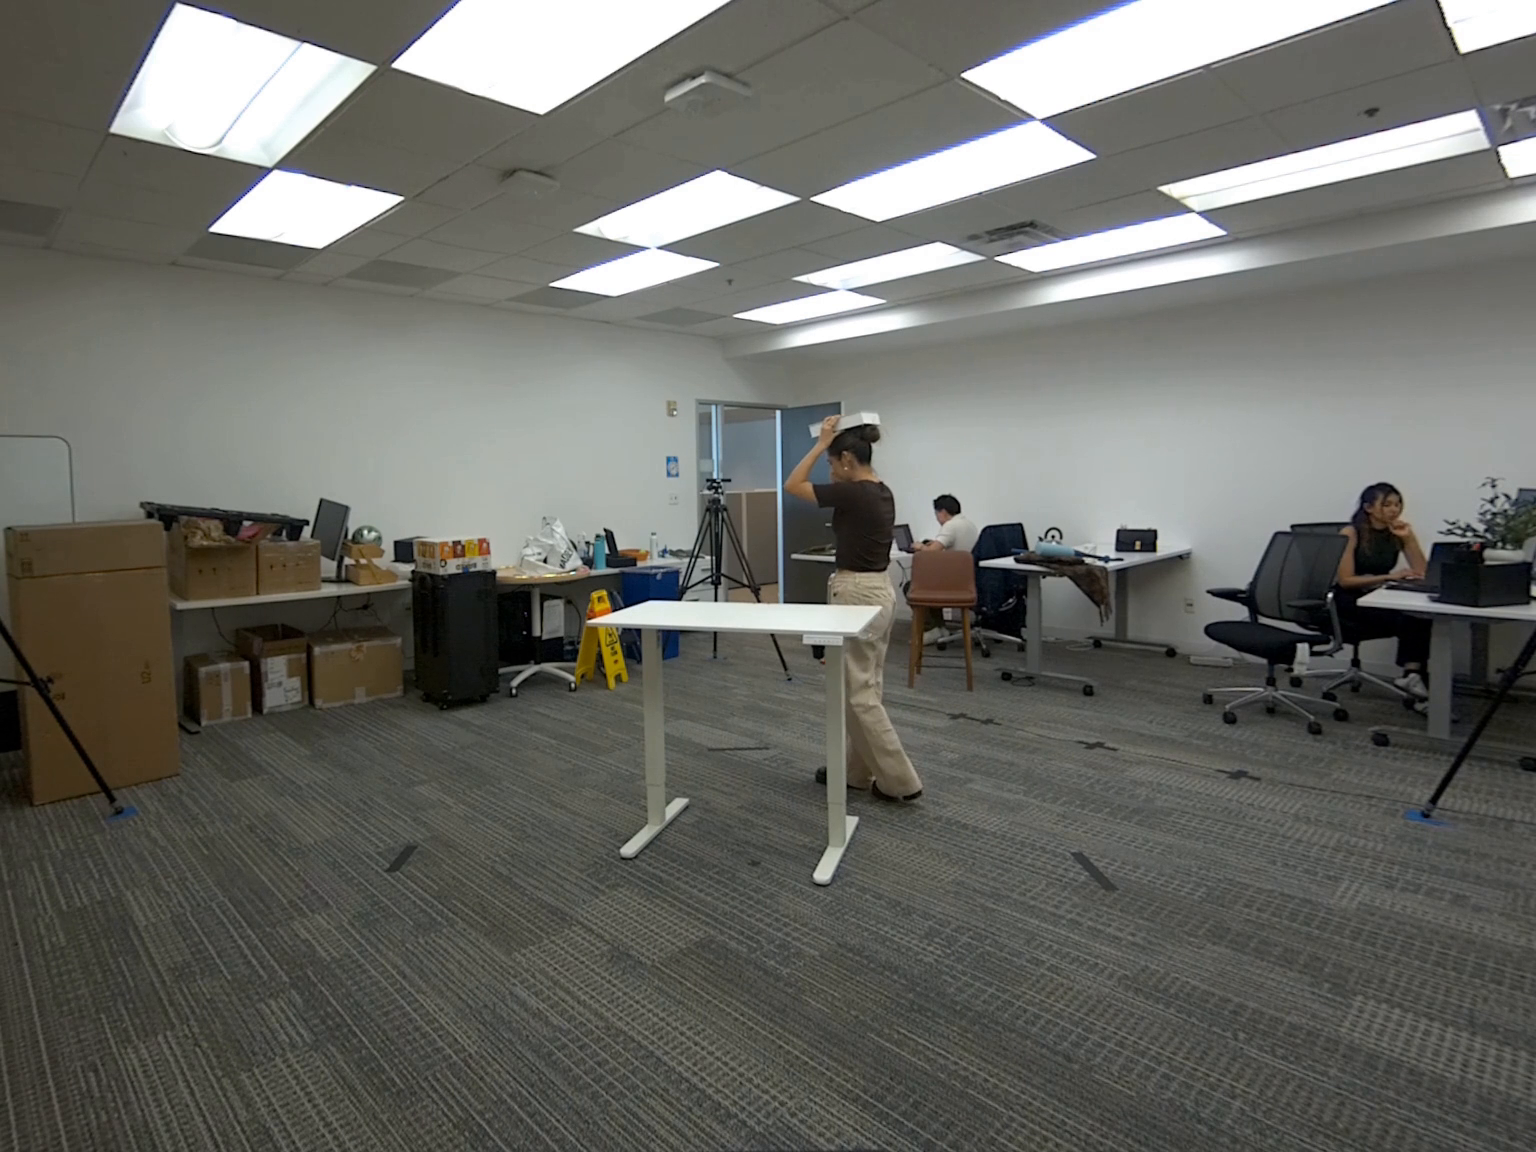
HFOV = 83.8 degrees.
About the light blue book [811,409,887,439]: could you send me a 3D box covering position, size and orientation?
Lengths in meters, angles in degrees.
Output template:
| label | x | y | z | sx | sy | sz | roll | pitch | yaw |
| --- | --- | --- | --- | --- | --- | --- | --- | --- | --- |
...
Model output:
| label | x | y | z | sx | sy | sz | roll | pitch | yaw |
| --- | --- | --- | --- | --- | --- | --- | --- | --- | --- |
| light blue book | 0.354 | -0.667 | 3.764 | 0.266 | 0.059 | 0.187 | -10 | 2 | 33 |
